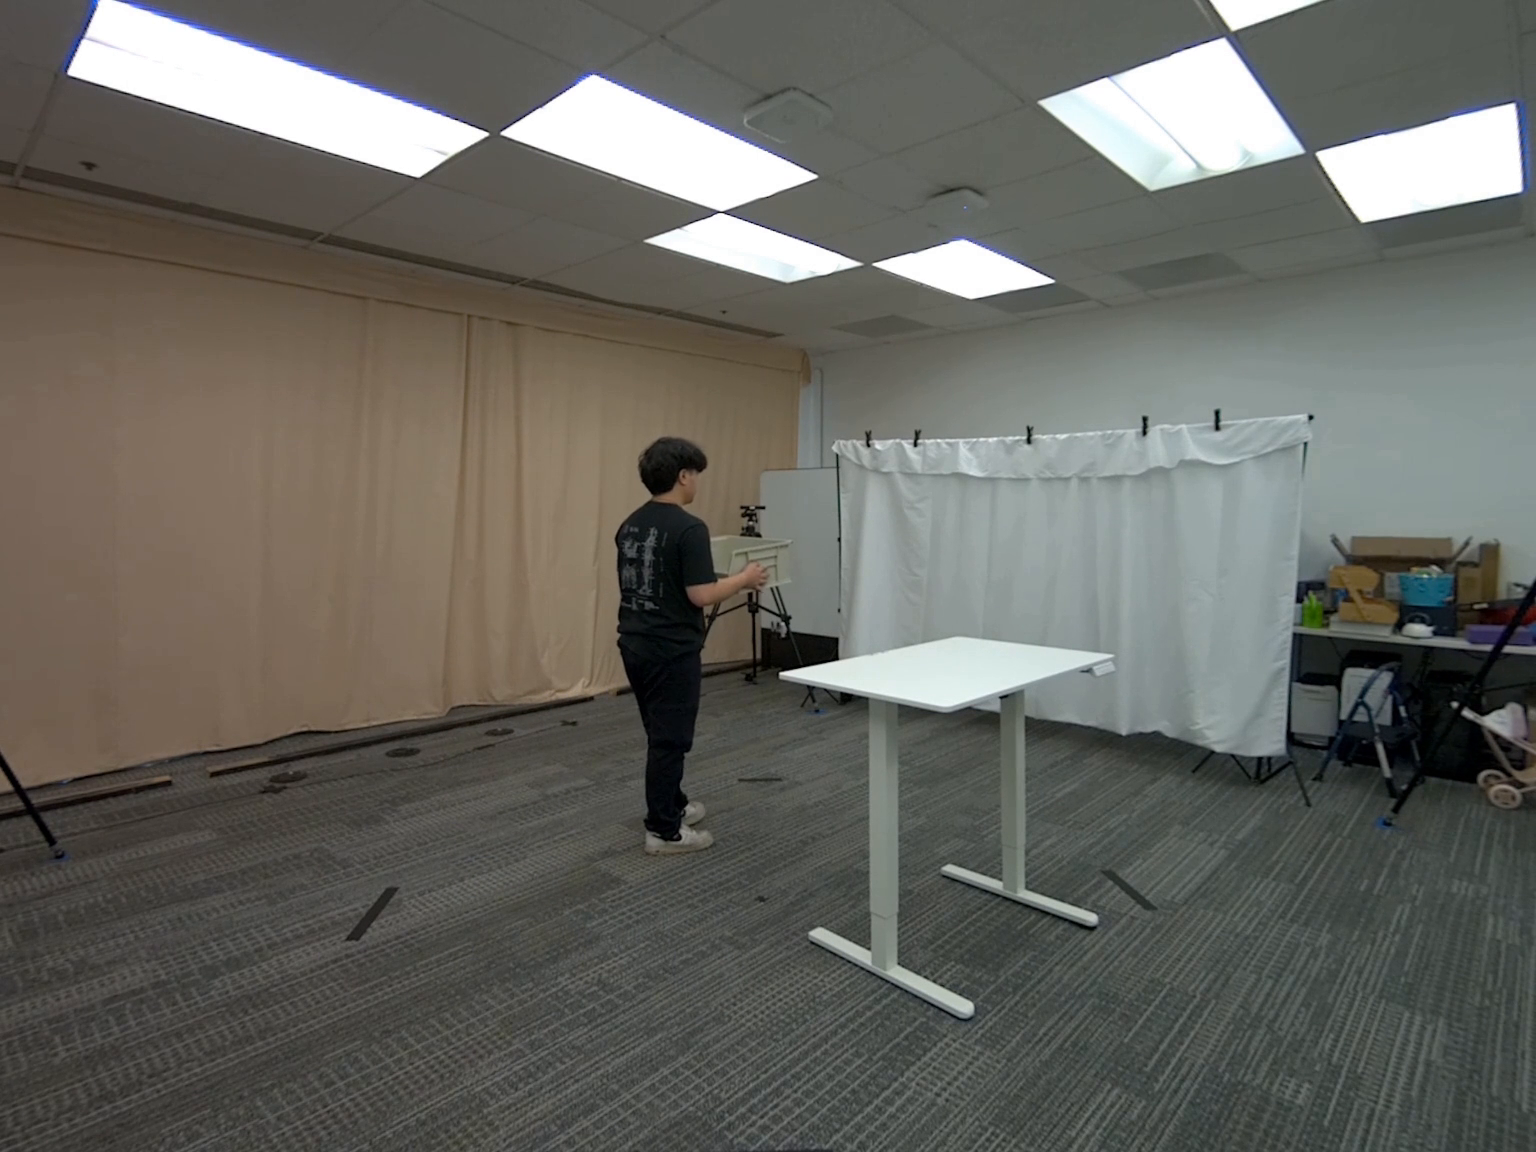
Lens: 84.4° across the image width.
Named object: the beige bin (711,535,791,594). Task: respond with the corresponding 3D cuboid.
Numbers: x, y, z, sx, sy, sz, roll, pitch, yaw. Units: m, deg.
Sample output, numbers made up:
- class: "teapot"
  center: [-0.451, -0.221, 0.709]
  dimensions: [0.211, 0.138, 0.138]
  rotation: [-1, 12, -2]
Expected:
- class: "beige bin"
  center: [-0.166, -0.053, 3.608]
  dimensions: [0.366, 0.188, 0.437]
  rotation: [-9, 11, -43]
